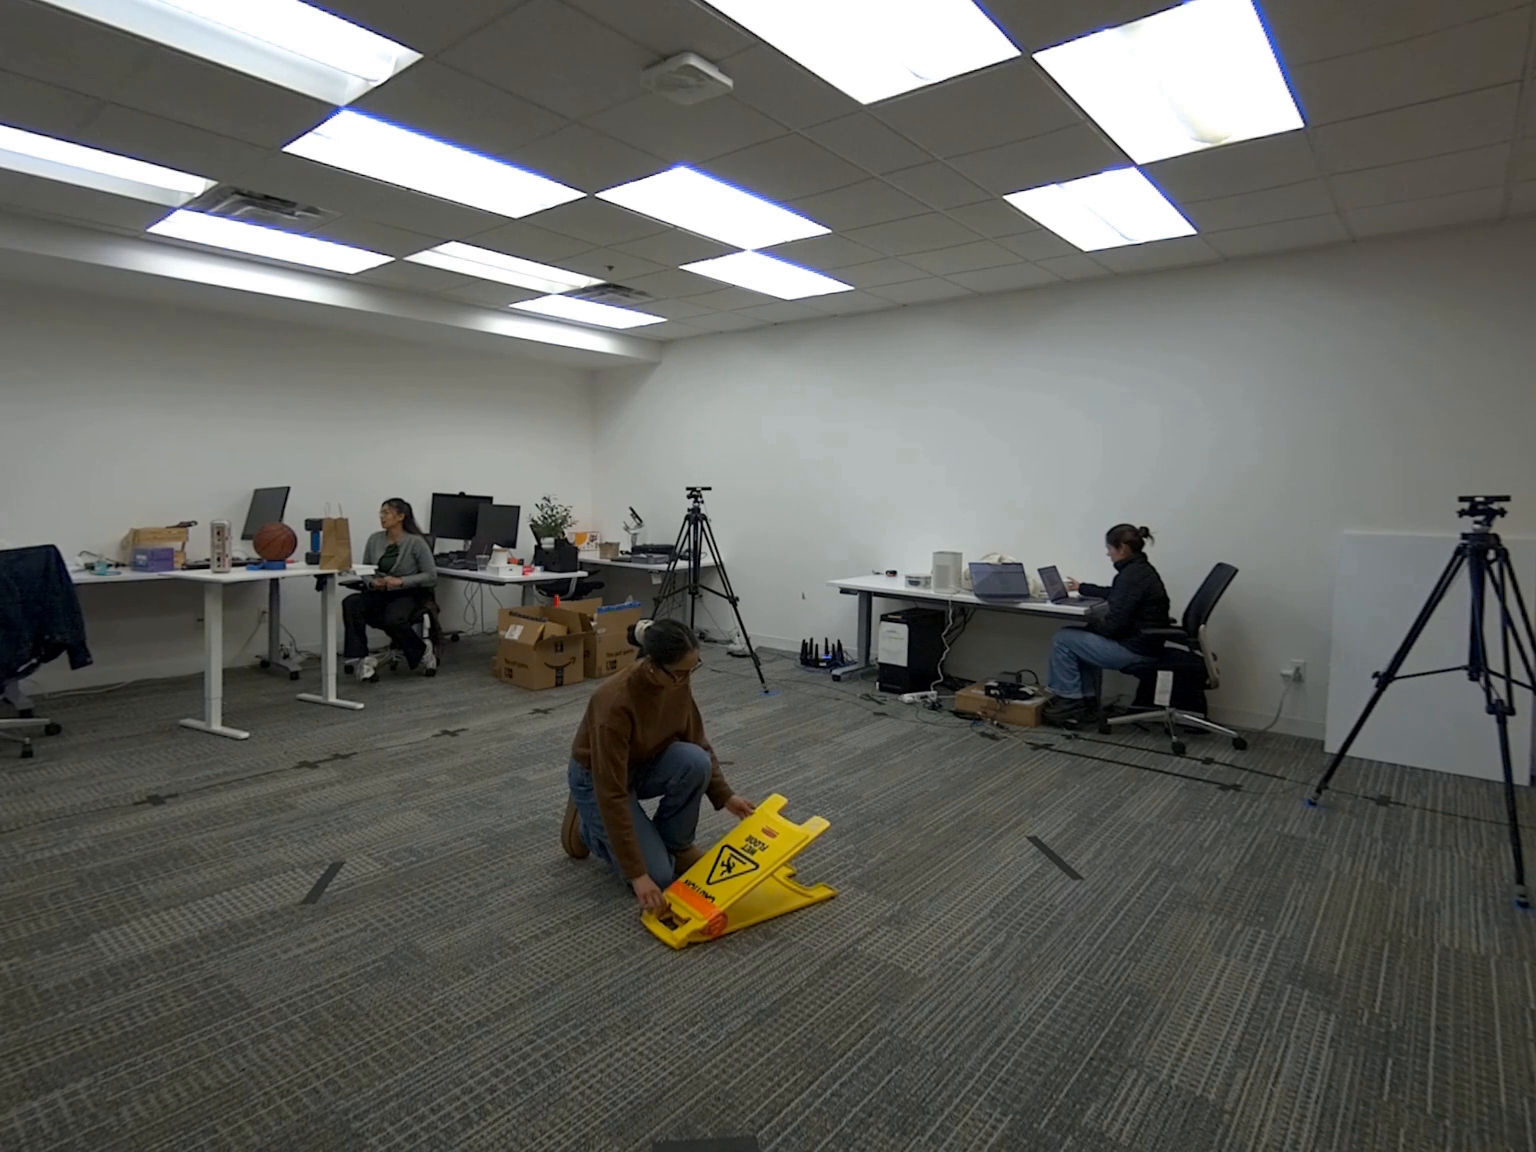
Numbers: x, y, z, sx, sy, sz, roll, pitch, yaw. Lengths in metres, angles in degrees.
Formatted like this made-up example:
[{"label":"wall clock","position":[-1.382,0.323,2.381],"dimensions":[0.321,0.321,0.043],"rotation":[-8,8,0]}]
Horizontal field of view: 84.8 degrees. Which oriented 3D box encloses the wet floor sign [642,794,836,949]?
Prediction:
[{"label":"wet floor sign","position":[-0.109,1.016,2.803],"dimensions":[0.632,0.286,0.292],"rotation":[-18,17,-37]}]
